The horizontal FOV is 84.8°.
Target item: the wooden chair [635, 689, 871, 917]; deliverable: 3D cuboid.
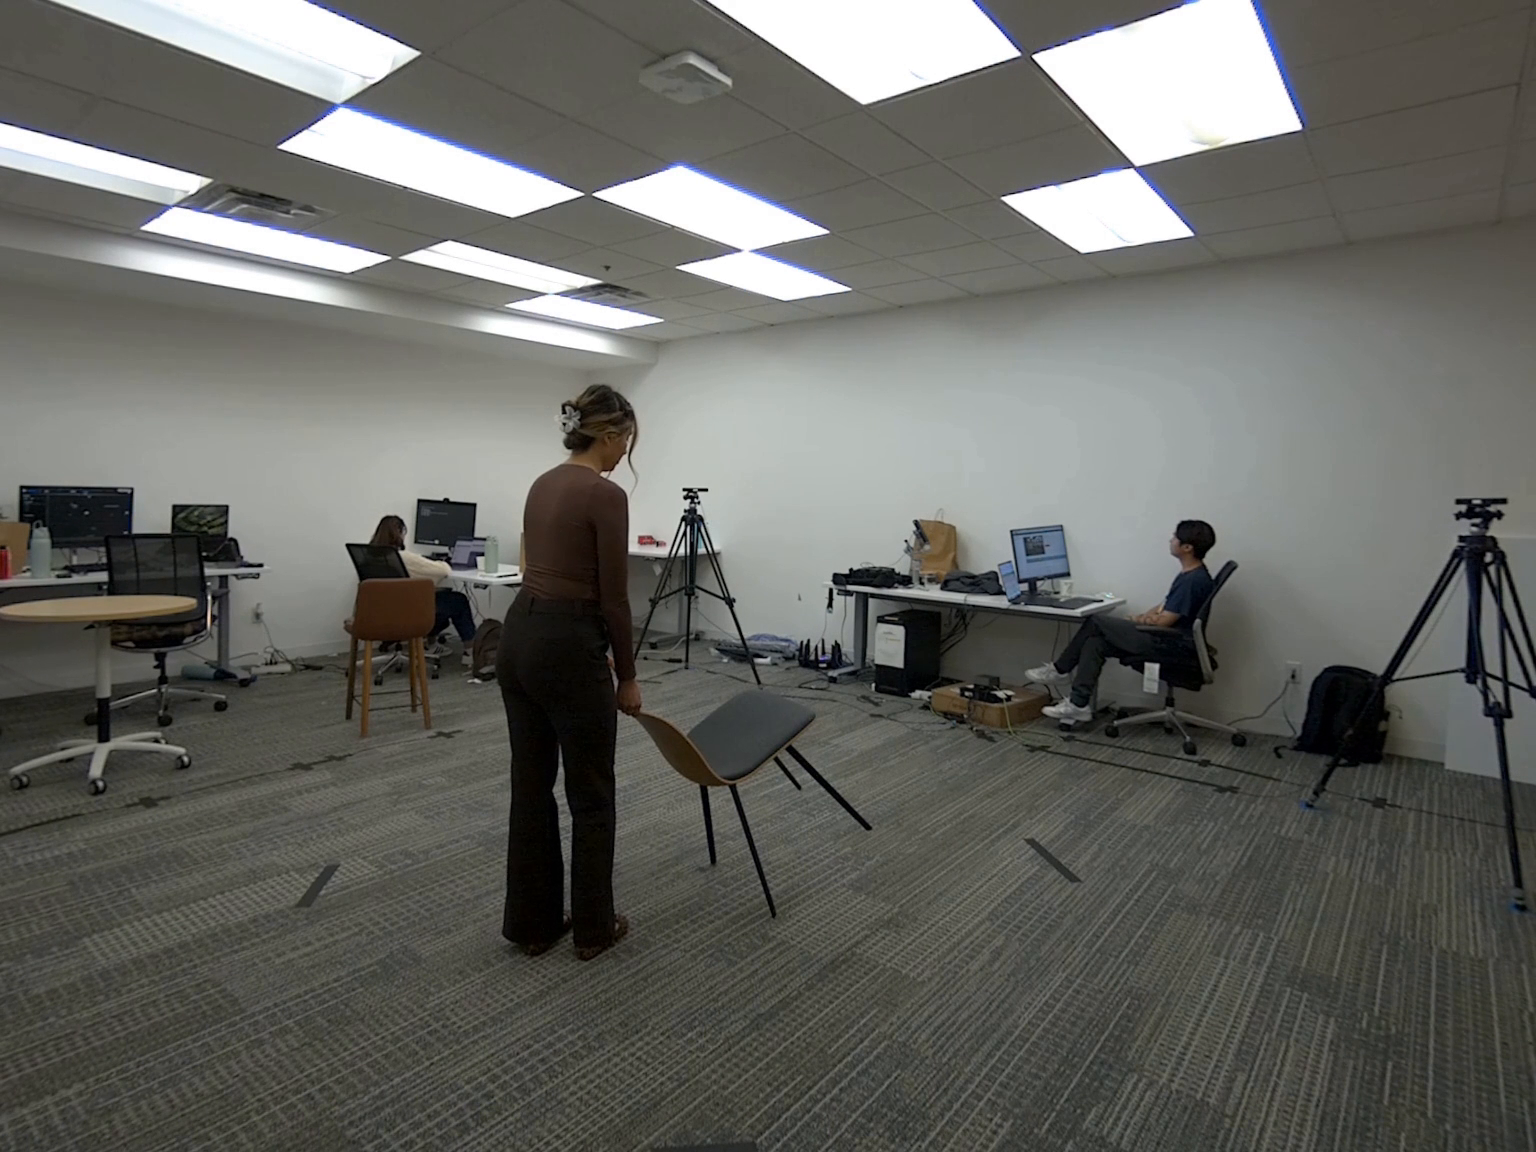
[{"bbox_3d":[-0.110,0.602,2.925,0.520,0.857,0.492,-38,20,-22],"label":"wooden chair"}]
